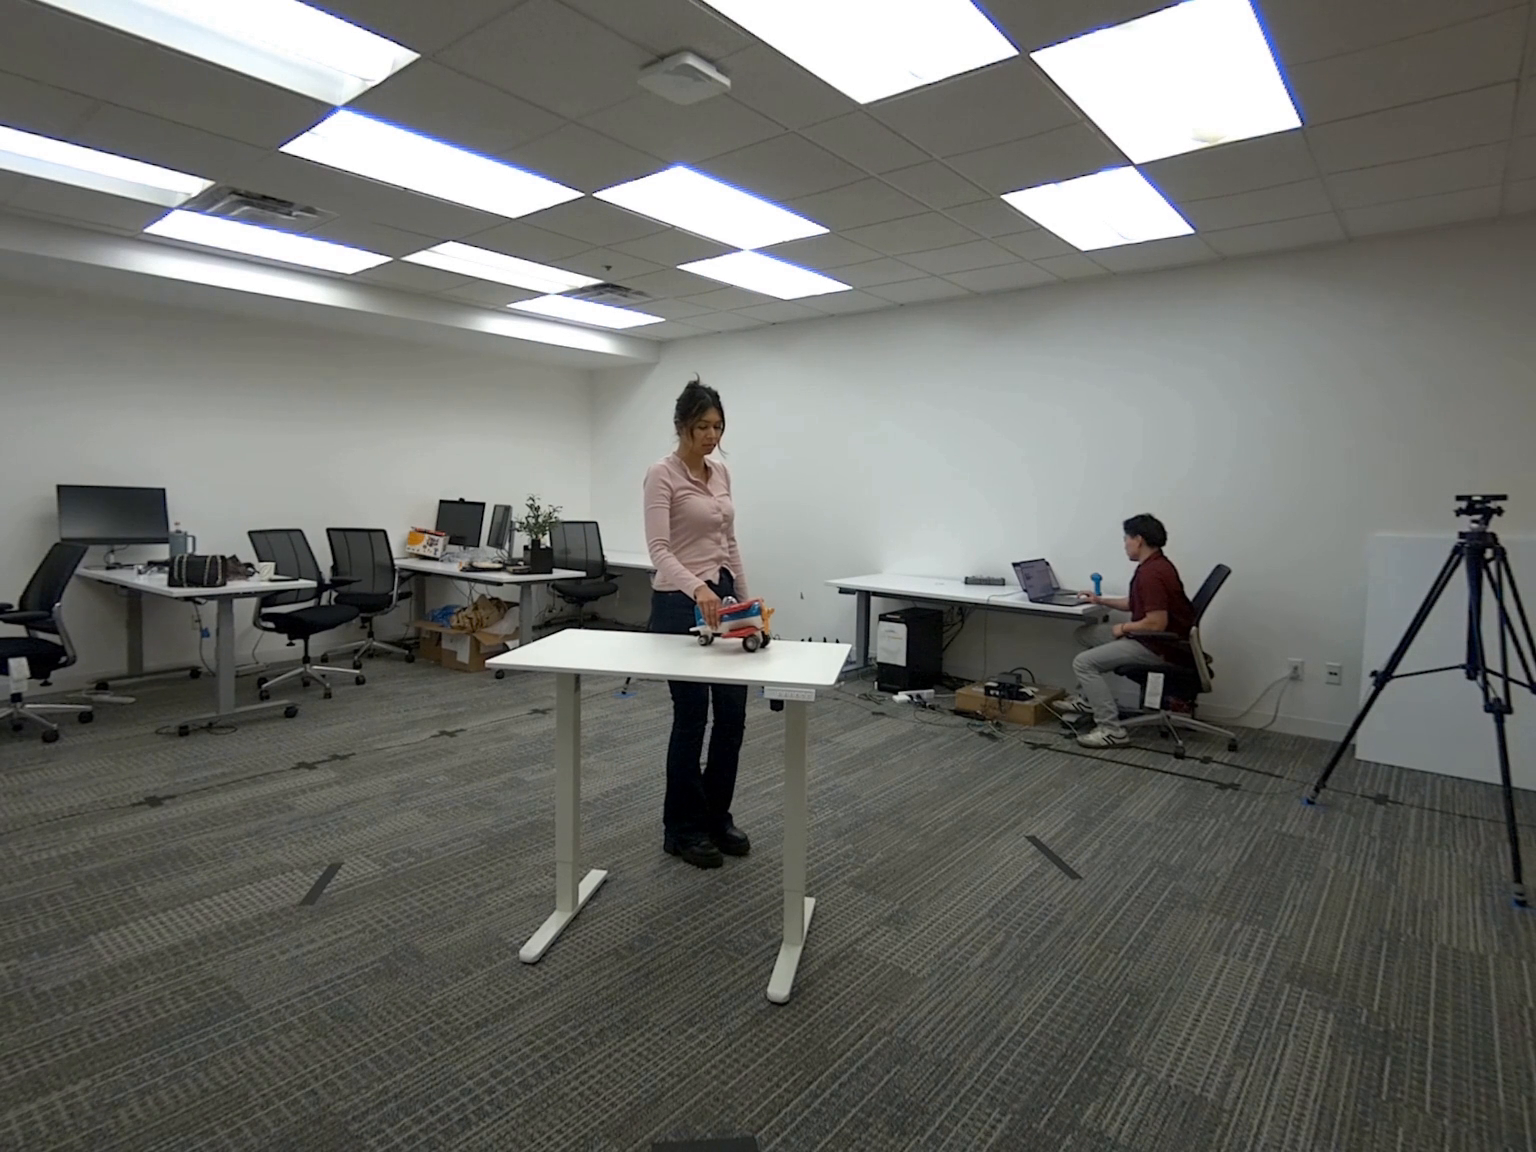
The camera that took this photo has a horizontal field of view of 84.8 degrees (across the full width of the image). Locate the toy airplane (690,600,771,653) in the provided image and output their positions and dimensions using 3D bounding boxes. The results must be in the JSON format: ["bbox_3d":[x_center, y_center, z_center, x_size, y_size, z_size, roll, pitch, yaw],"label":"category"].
[{"bbox_3d":[-0.127,0.151,2.692,0.258,0.156,0.253,1,4,-5],"label":"toy airplane"}]
